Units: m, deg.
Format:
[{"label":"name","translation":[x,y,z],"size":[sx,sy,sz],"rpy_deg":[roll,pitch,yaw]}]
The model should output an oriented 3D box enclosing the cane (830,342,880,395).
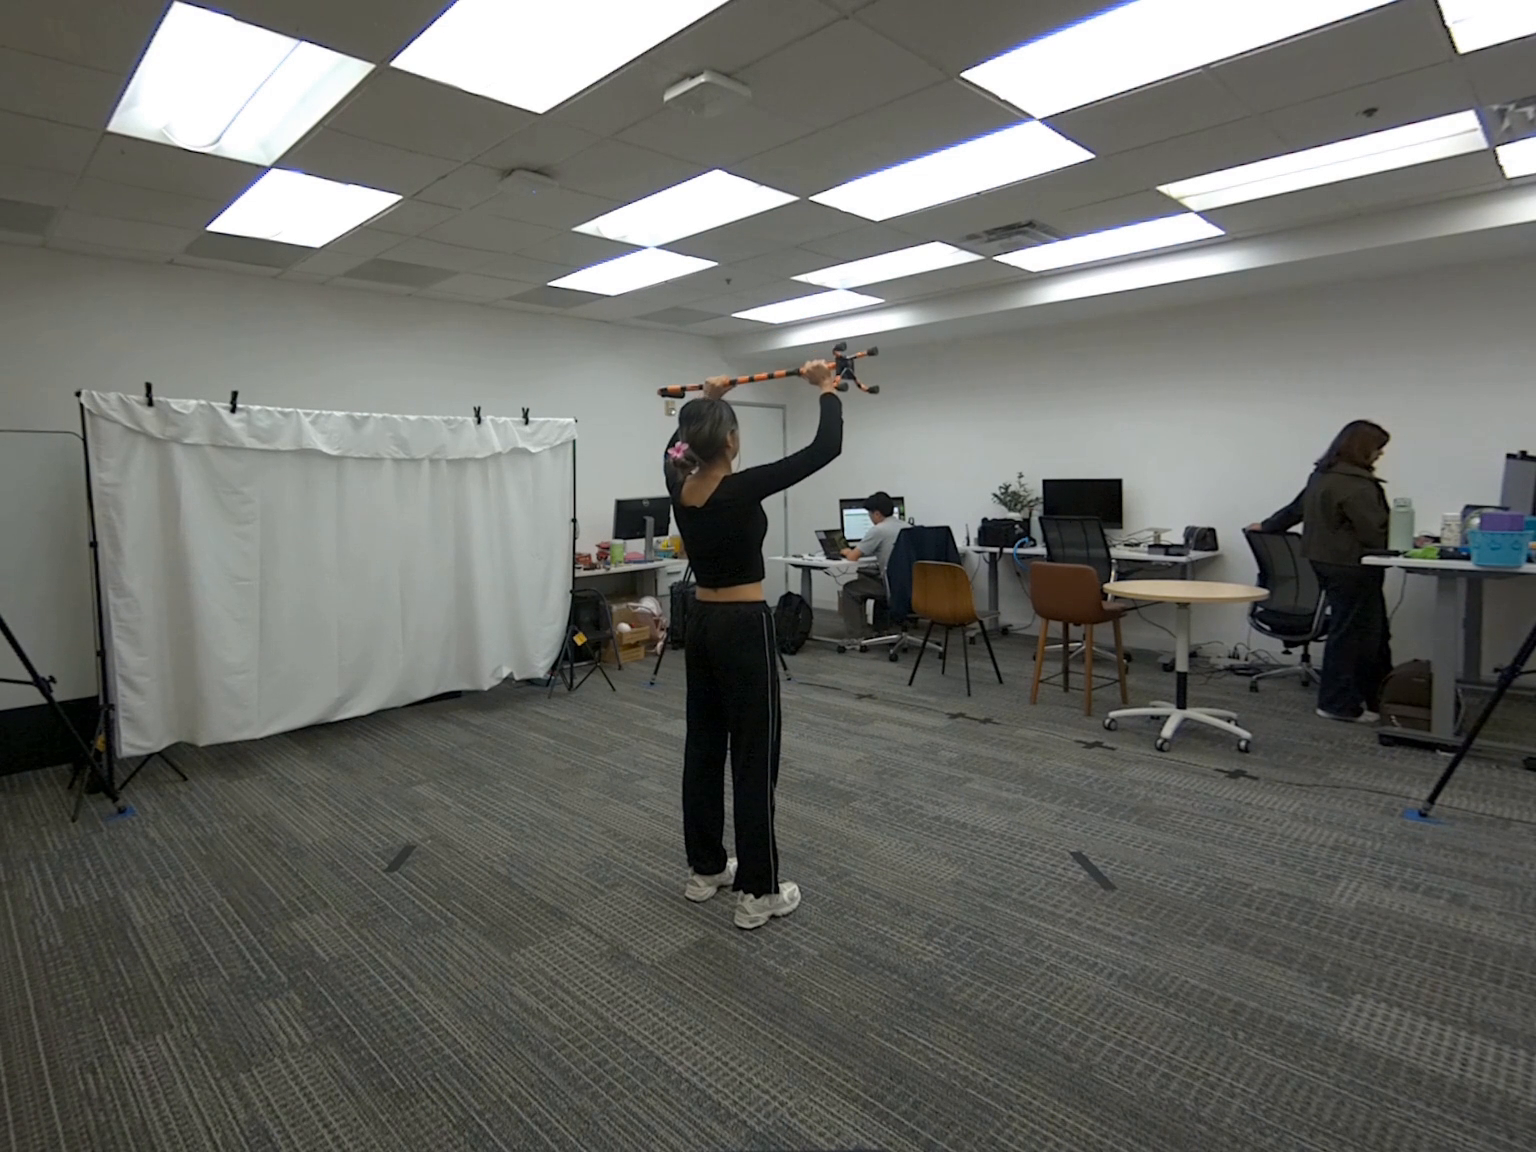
[{"label":"cane","translation":[-0.058,-0.672,2.984],"size":[0.936,0.151,0.201],"rpy_deg":[4,9,42]}]
